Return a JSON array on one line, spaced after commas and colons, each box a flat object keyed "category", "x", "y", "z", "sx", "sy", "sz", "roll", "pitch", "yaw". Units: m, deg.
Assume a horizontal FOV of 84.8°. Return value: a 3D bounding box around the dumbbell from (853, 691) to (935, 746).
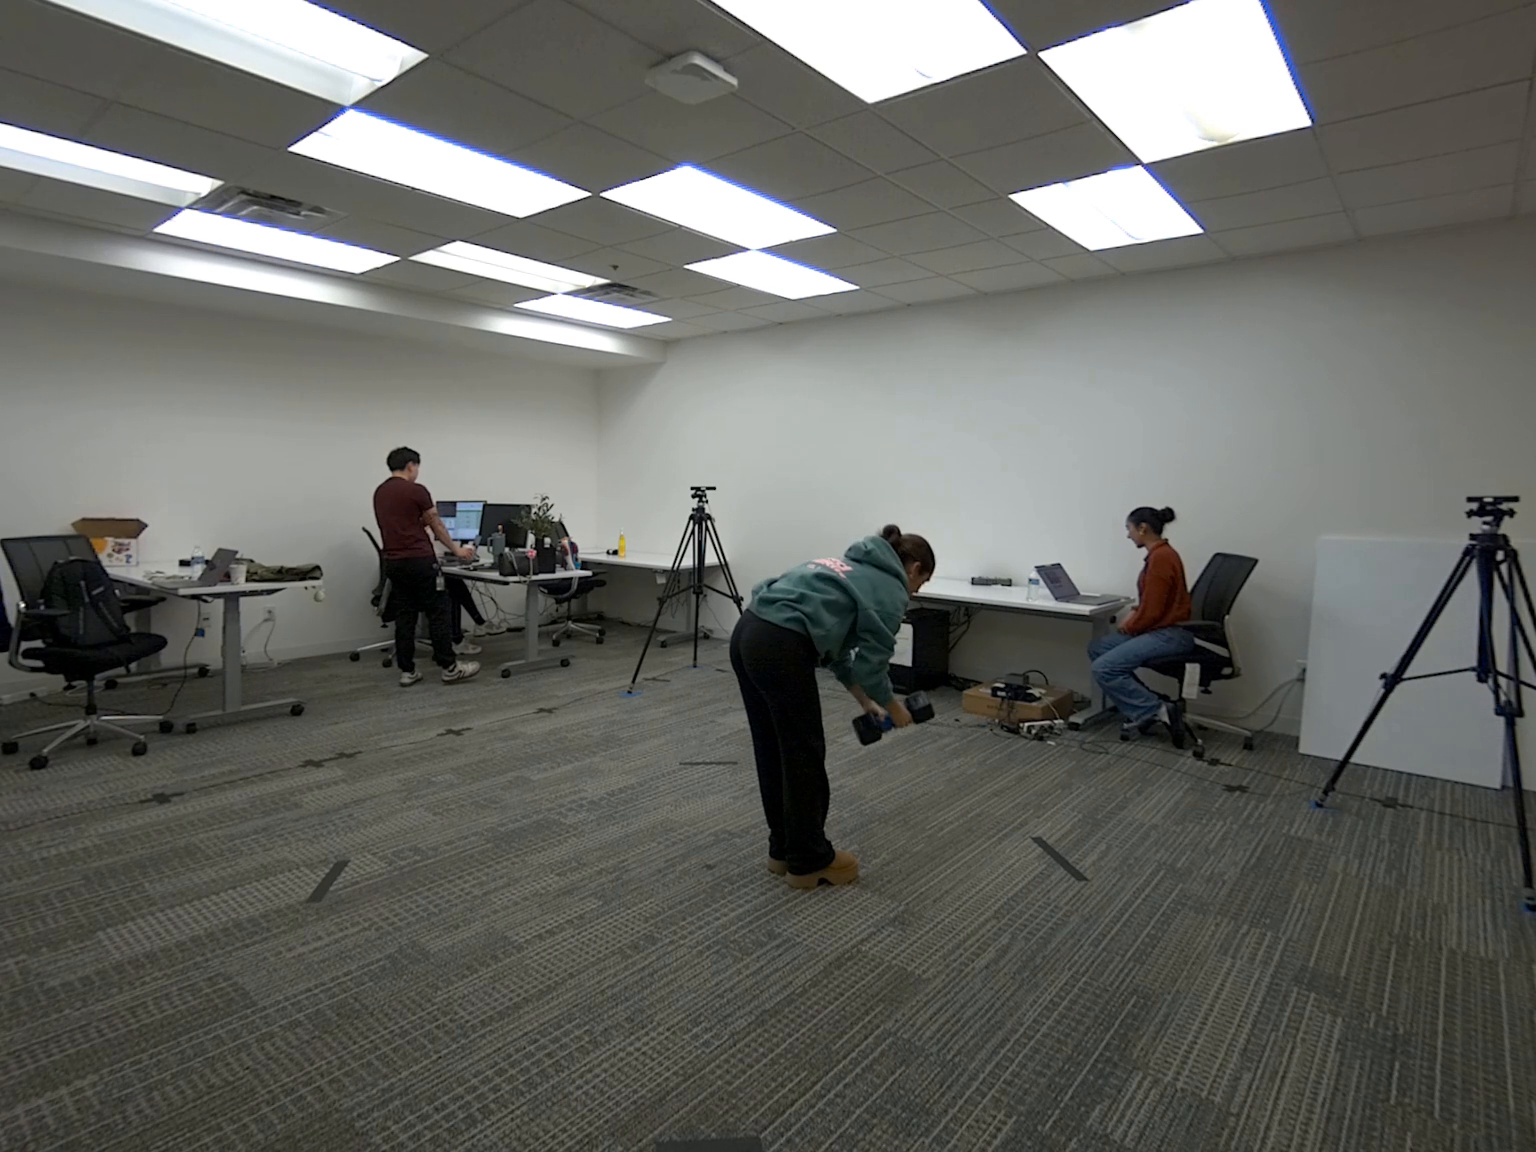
[{"category": "dumbbell", "x": 0.461, "y": 0.528, "z": 3.157, "sx": 0.293, "sy": 0.121, "sz": 0.111, "roll": -21, "pitch": 13, "yaw": -4}]
